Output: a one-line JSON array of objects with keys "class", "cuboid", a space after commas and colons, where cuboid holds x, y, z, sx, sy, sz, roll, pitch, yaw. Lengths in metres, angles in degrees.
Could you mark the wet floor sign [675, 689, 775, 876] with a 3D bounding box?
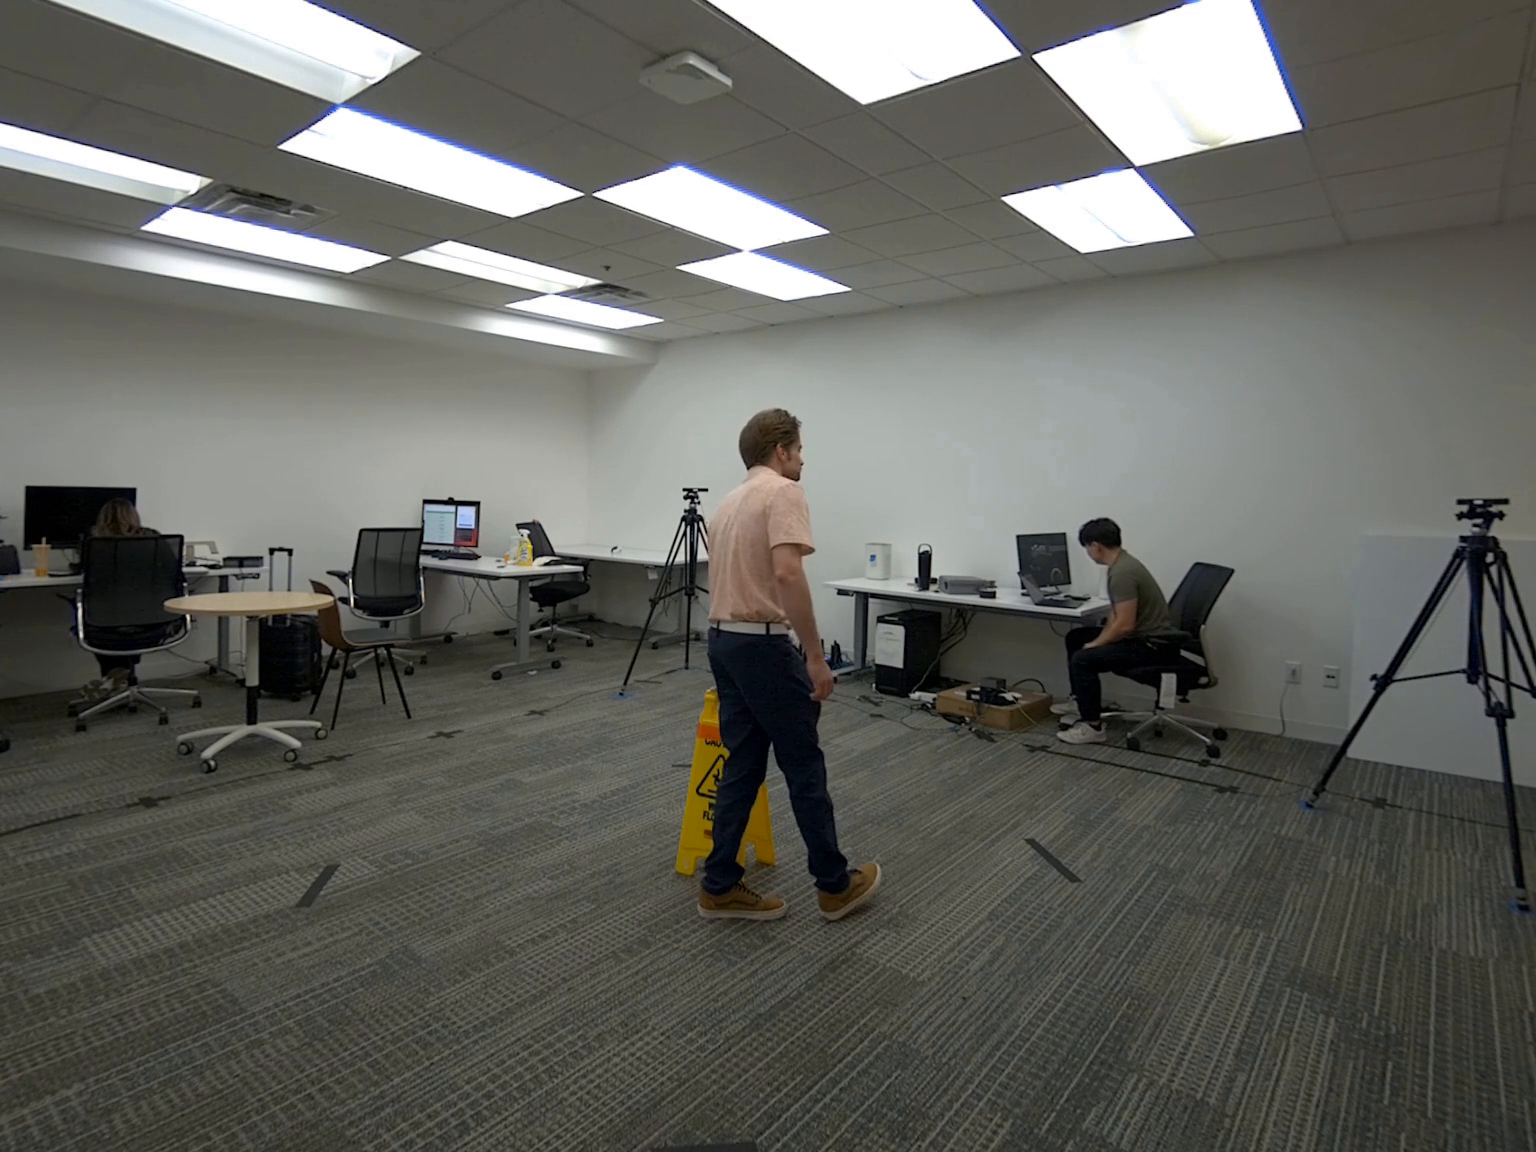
[{"class": "wet floor sign", "cuboid": [-0.159, 0.746, 3.103, 0.290, 0.644, 0.282, 3, 4, 30]}]
